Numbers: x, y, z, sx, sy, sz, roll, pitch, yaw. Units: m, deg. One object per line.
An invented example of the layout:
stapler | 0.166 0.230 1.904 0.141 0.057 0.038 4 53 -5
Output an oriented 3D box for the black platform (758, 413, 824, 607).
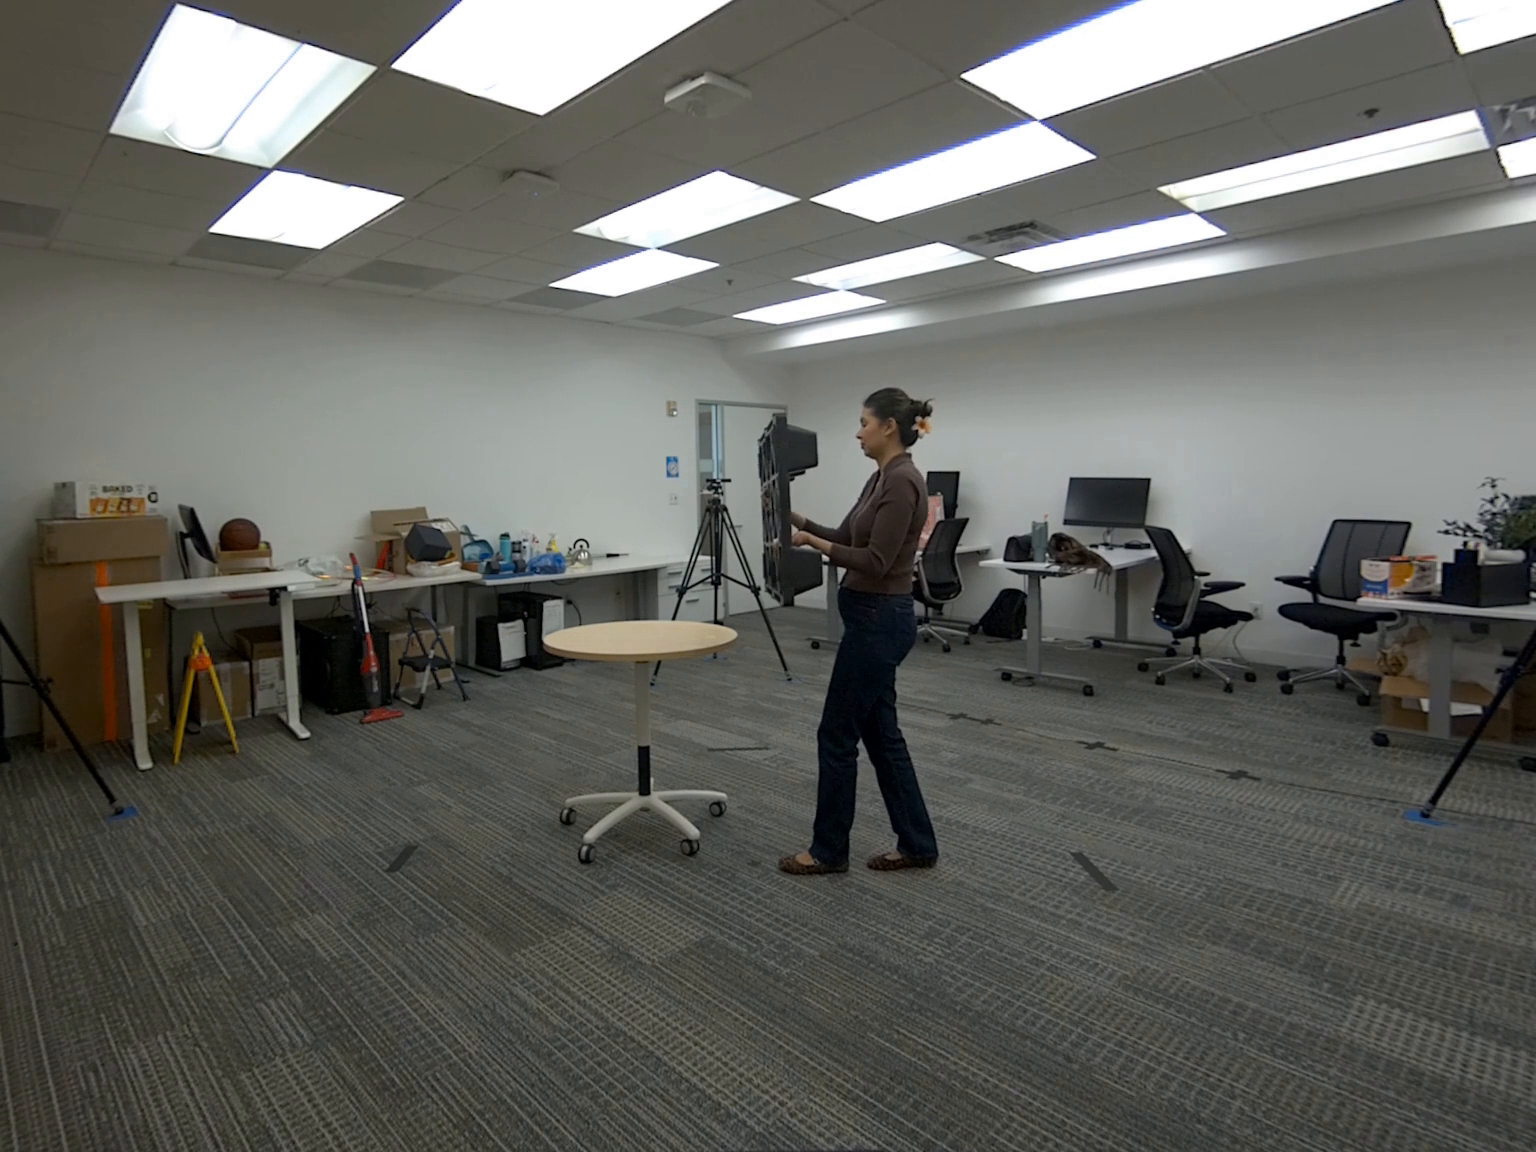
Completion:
black platform | 0.070 -0.221 2.996 0.143 0.605 0.808 -3 1 -5
